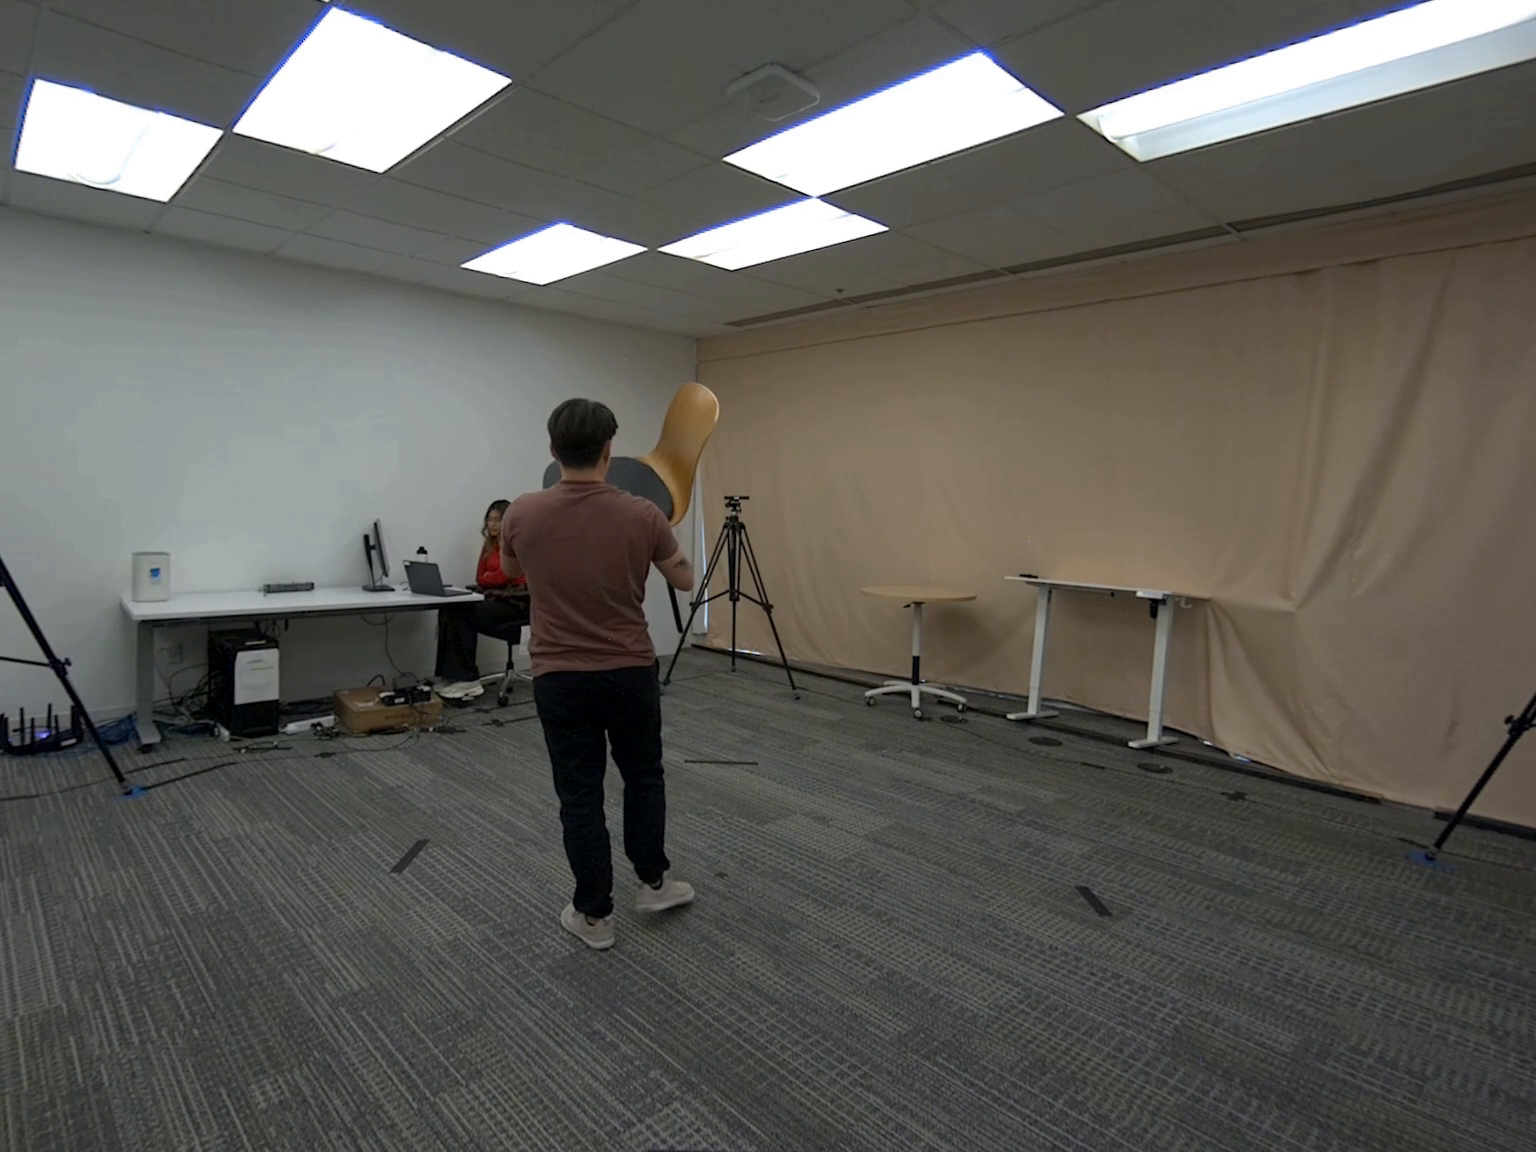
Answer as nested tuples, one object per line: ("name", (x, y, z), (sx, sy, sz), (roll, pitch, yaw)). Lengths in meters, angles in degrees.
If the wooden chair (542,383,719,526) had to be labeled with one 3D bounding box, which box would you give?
("wooden chair", (-0.524, -0.253, 2.976), (0.514, 0.866, 0.492), (2, 36, -22))
